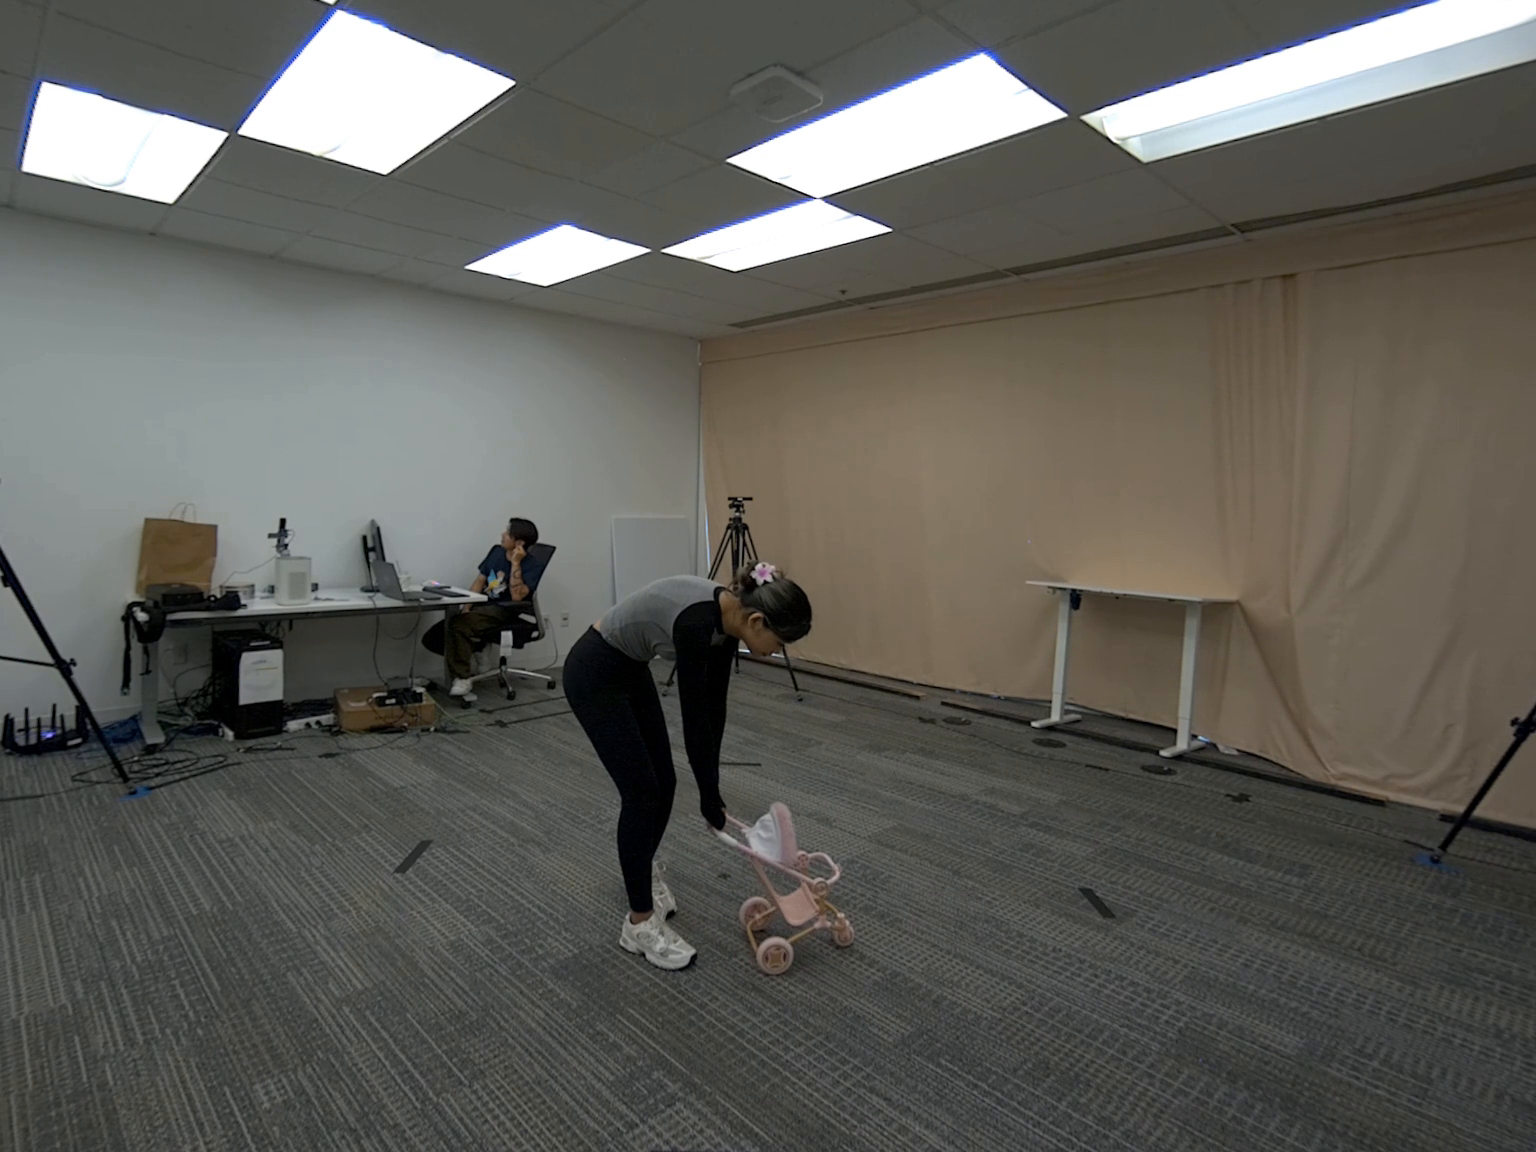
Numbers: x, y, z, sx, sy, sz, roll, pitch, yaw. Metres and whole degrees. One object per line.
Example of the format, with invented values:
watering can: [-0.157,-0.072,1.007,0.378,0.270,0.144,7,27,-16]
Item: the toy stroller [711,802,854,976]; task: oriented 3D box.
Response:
toy stroller: [0.052,0.934,2.585,0.340,0.532,0.284,-15,7,-6]
